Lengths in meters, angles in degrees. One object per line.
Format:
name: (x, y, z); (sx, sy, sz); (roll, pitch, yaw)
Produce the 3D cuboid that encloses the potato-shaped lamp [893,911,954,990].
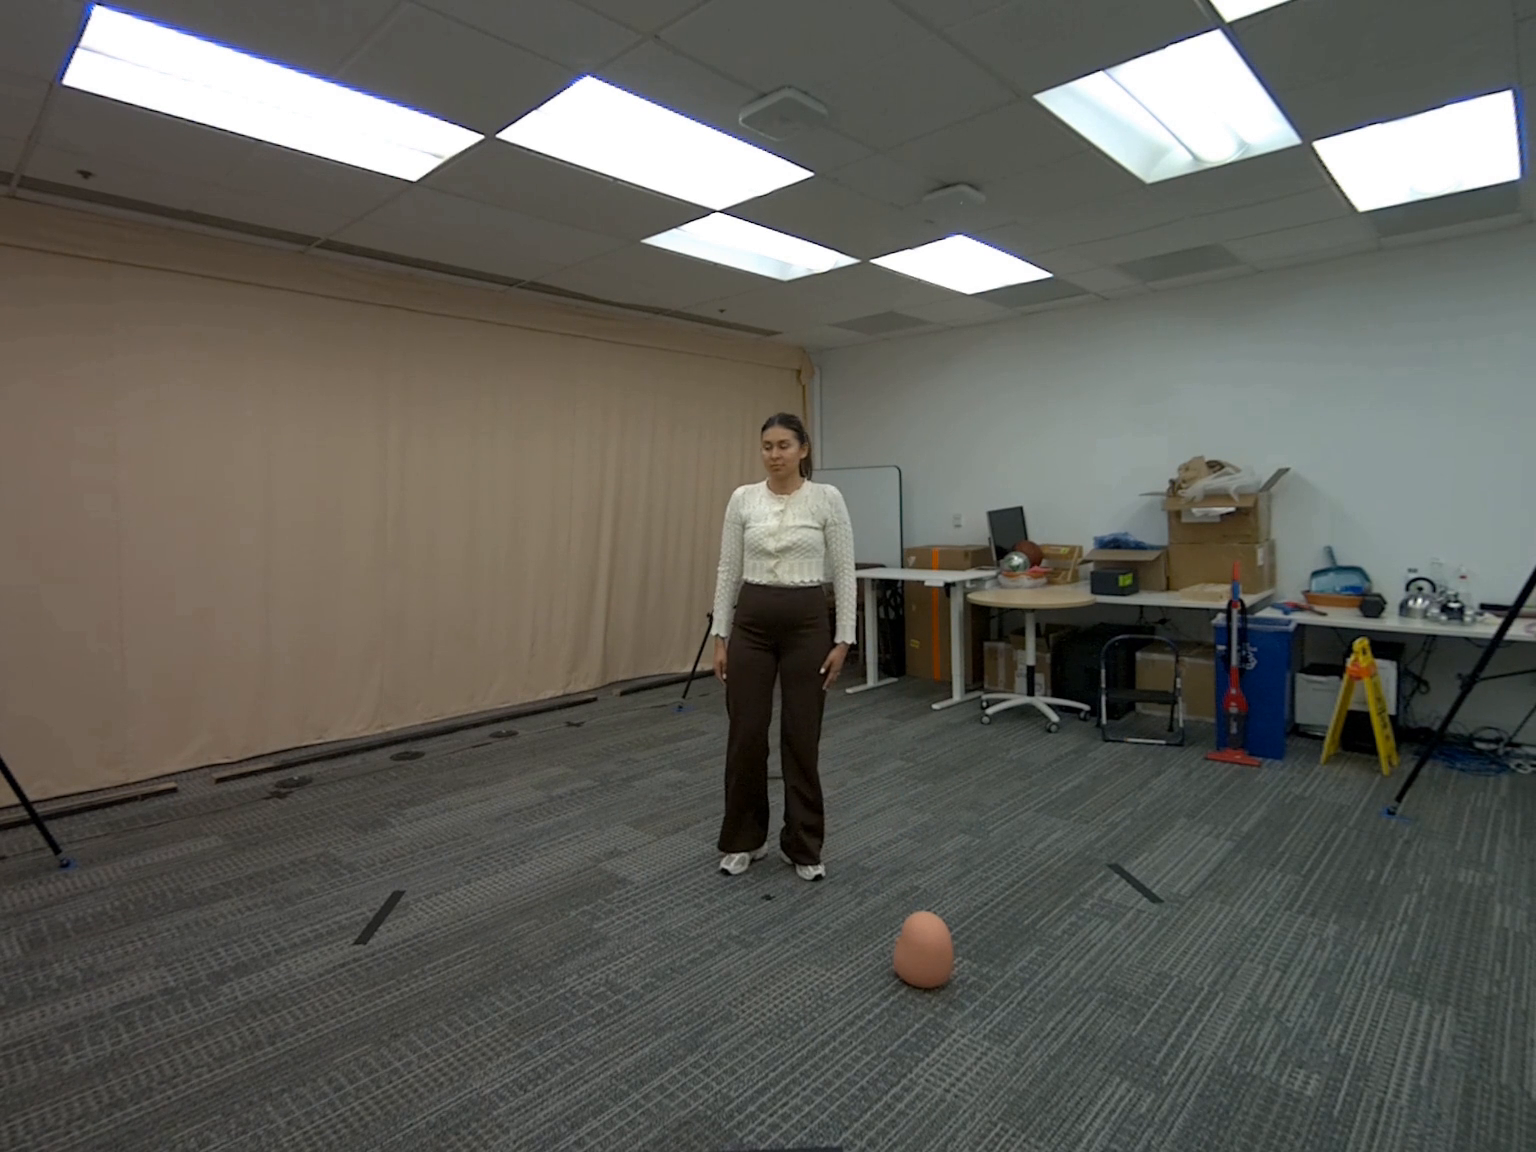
potato-shaped lamp: (0.457, 1.080, 2.442); (0.161, 0.197, 0.176); (-3, 7, -24)
